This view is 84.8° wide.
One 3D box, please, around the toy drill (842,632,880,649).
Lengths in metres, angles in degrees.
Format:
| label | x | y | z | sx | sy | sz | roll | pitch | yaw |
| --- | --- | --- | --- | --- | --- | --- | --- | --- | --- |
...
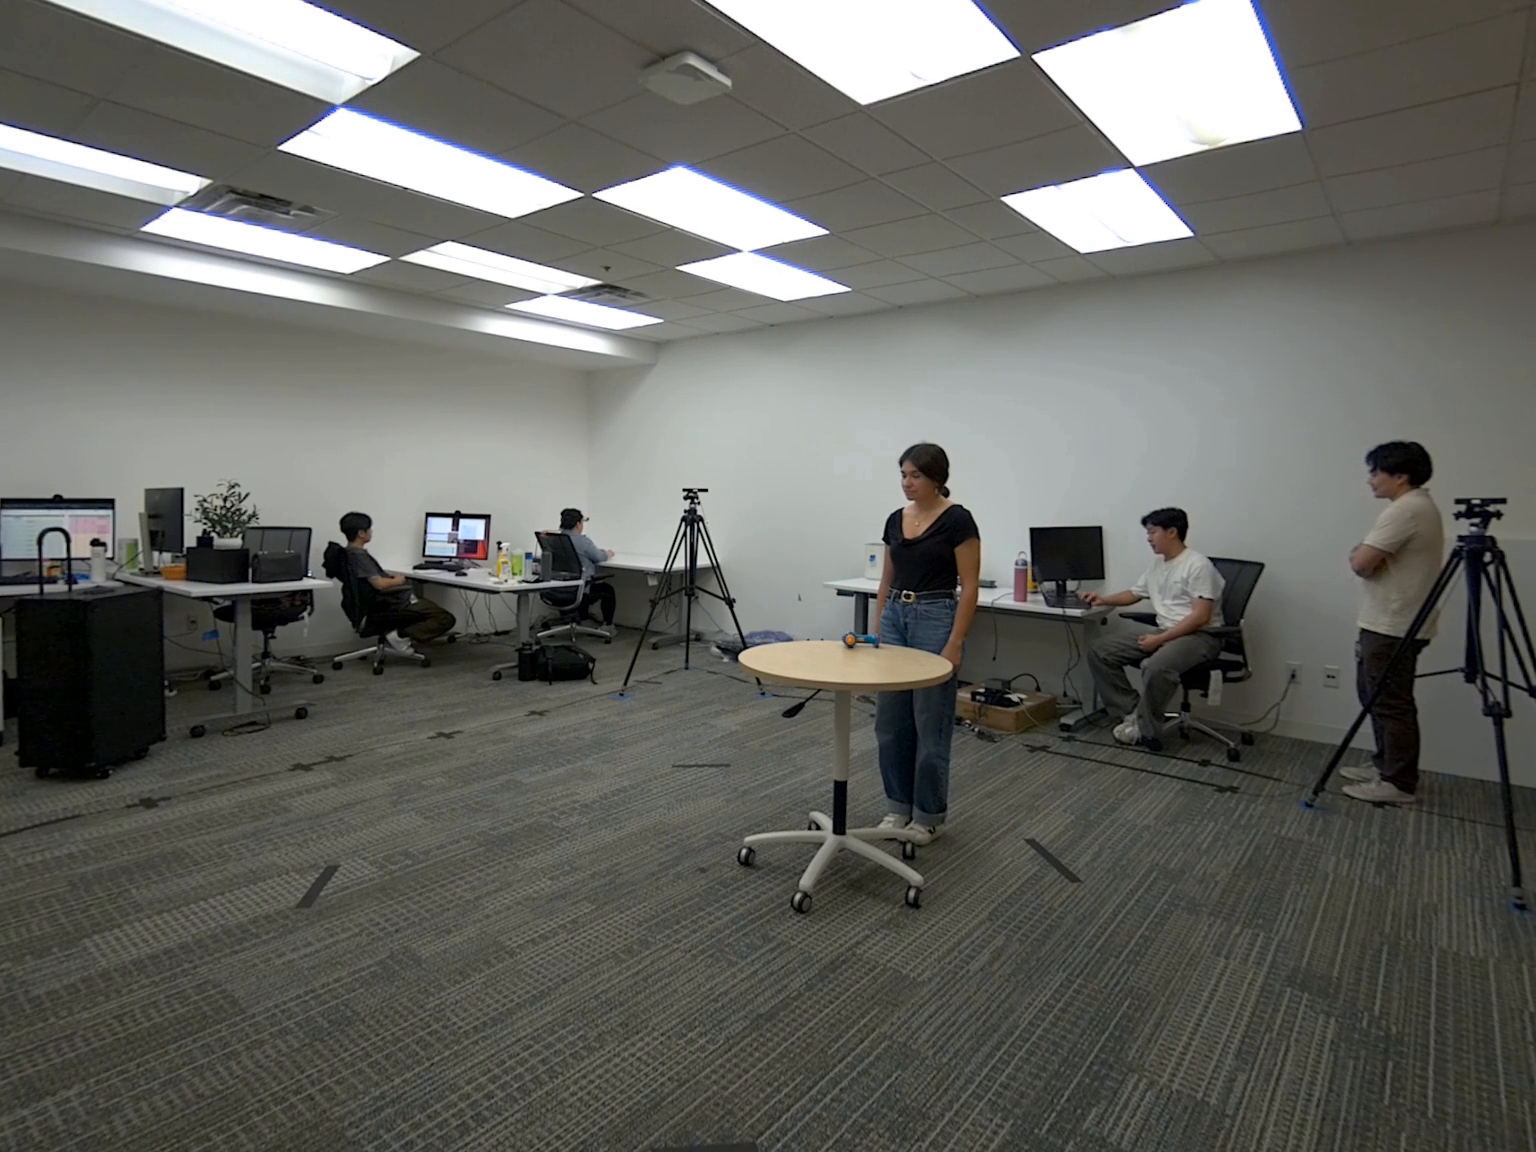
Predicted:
| label | x | y | z | sx | sy | sz | roll | pitch | yaw |
| --- | --- | --- | --- | --- | --- | --- | --- | --- | --- |
| toy drill | 0.363 | 0.239 | 3.329 | 0.147 | 0.061 | 0.168 | 3 | -2 | 6 |
